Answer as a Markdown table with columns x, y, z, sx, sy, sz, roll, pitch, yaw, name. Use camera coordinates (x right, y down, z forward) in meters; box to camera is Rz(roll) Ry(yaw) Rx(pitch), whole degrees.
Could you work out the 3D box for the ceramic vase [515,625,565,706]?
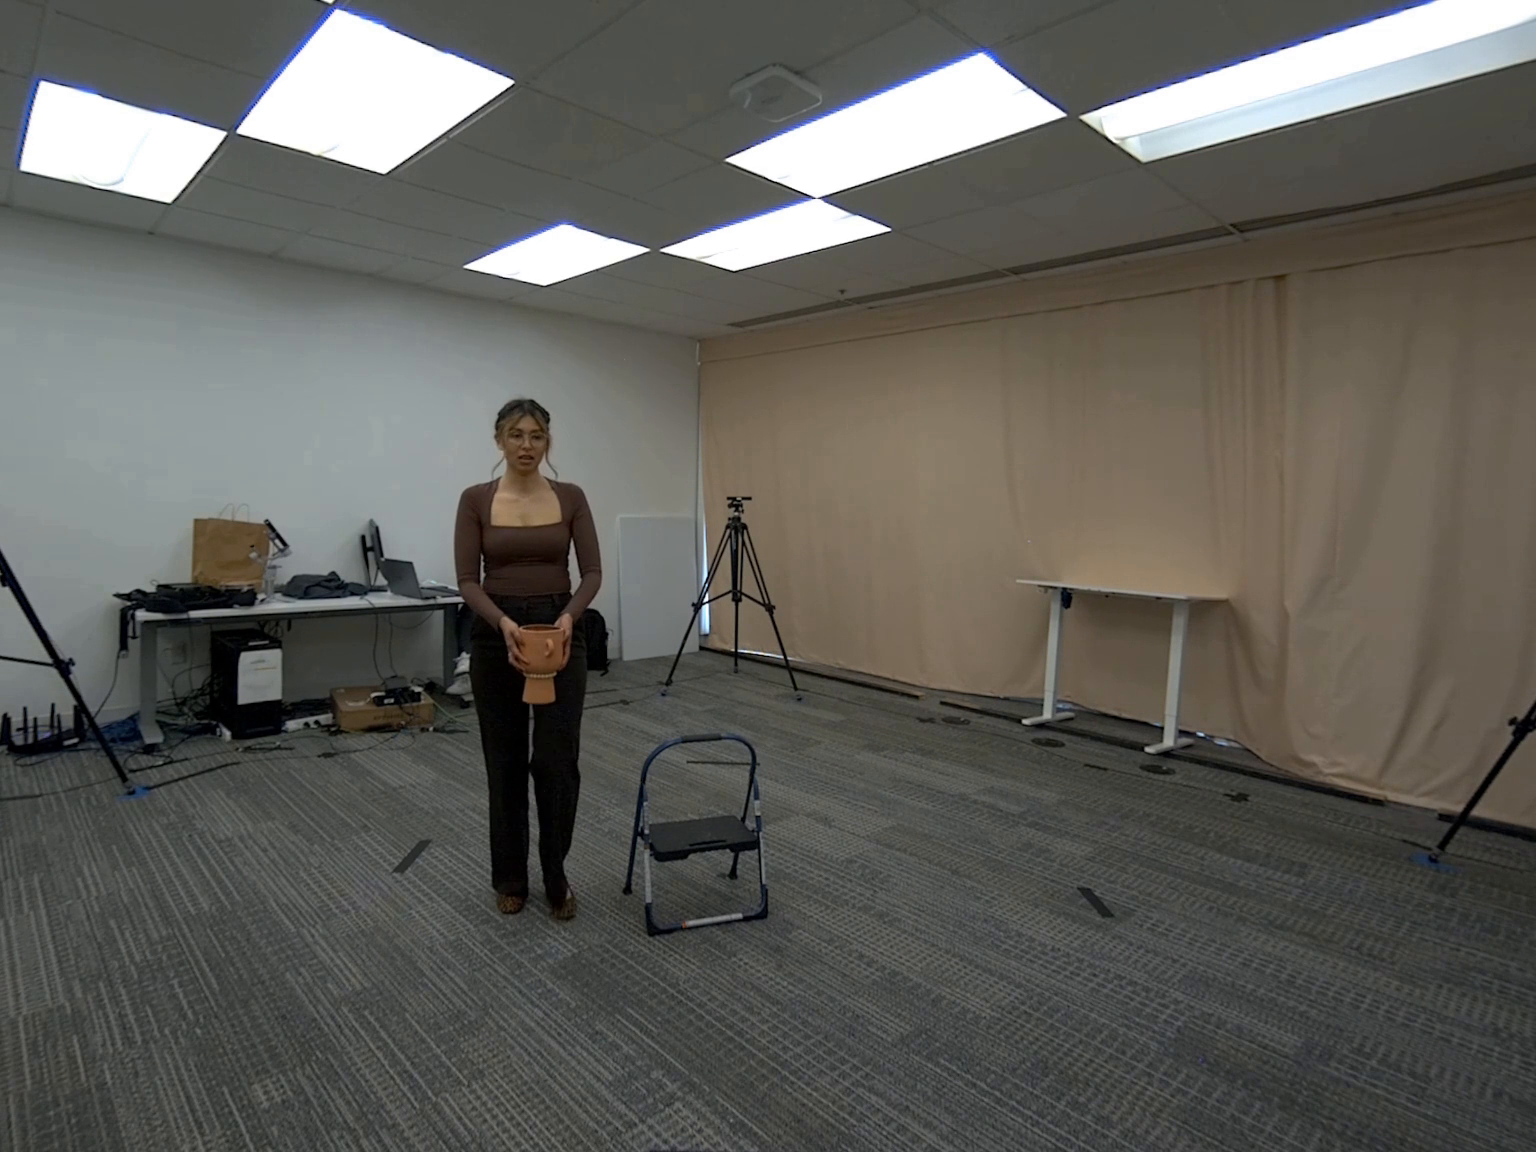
| x | y | z | sx | sy | sz | roll | pitch | yaw | name |
| --- | --- | --- | --- | --- | --- | --- | --- | --- | --- |
| -0.702 | 0.268 | 2.534 | 0.135 | 0.219 | 0.158 | 2 | 4 | 7 | ceramic vase |
